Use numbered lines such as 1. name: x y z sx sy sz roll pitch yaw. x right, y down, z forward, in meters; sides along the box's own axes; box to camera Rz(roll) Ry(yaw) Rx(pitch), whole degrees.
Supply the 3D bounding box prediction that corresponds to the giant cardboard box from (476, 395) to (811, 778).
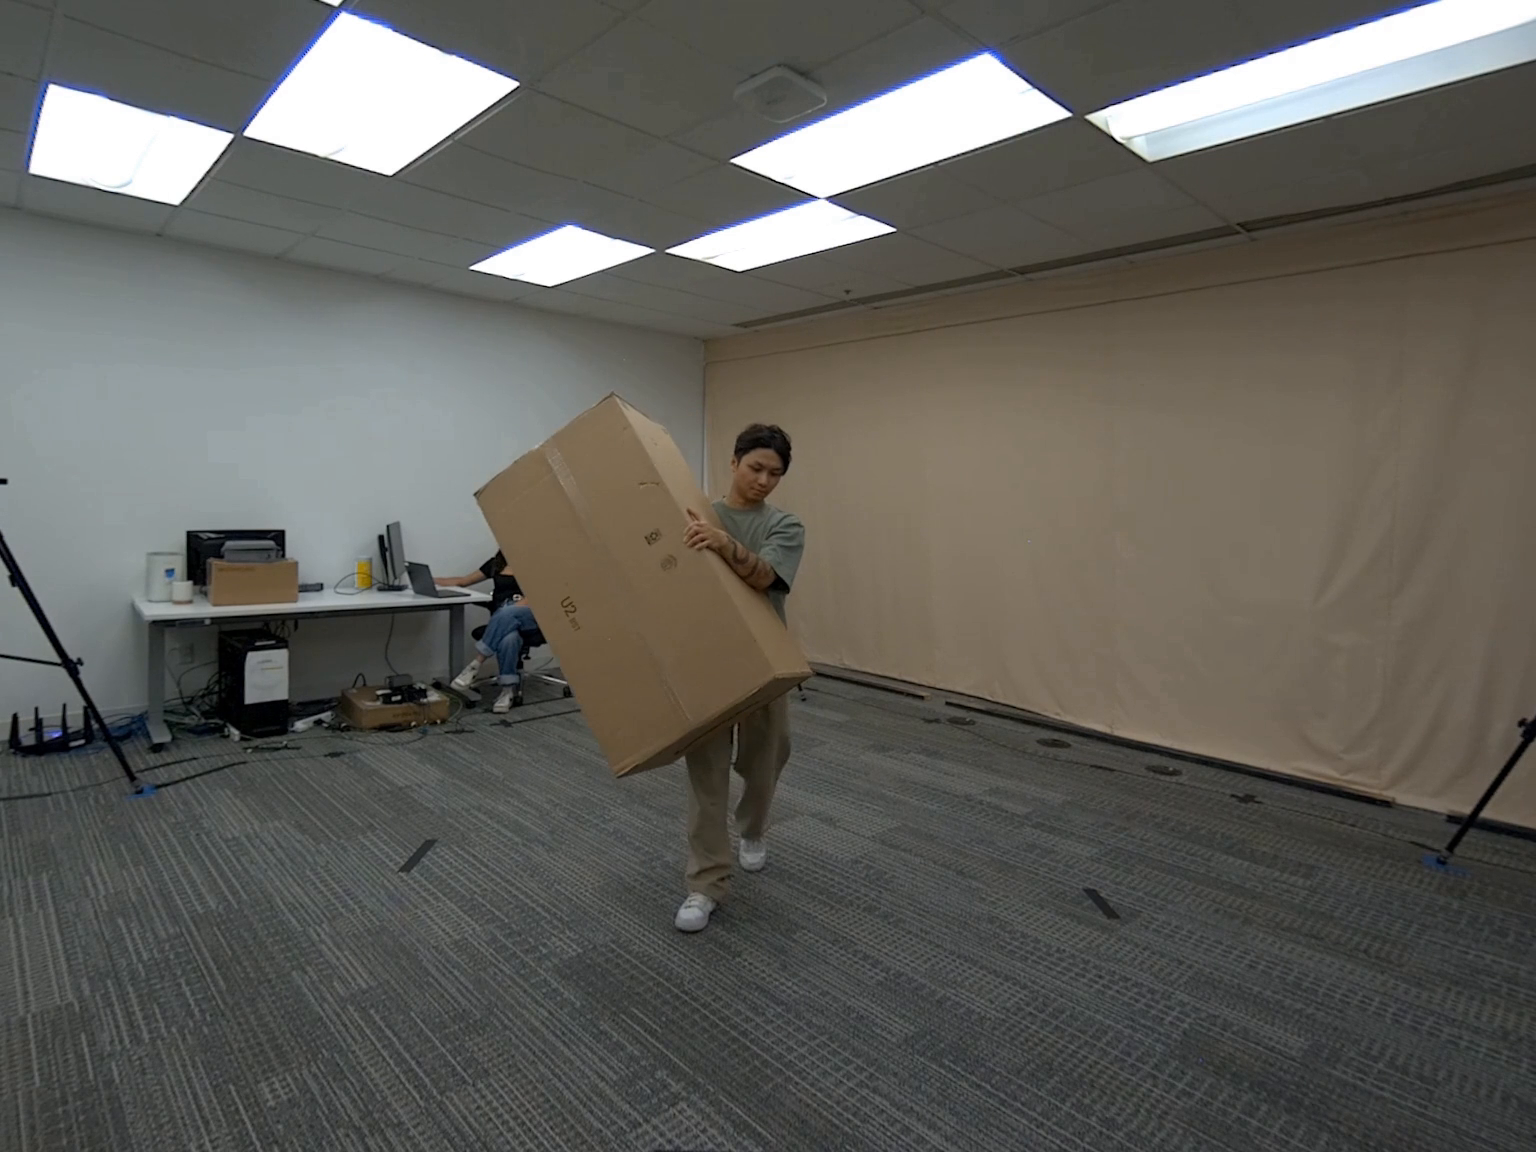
1. giant cardboard box: -0.404 0.029 2.707 0.579 1.043 0.418 -33 -16 10
